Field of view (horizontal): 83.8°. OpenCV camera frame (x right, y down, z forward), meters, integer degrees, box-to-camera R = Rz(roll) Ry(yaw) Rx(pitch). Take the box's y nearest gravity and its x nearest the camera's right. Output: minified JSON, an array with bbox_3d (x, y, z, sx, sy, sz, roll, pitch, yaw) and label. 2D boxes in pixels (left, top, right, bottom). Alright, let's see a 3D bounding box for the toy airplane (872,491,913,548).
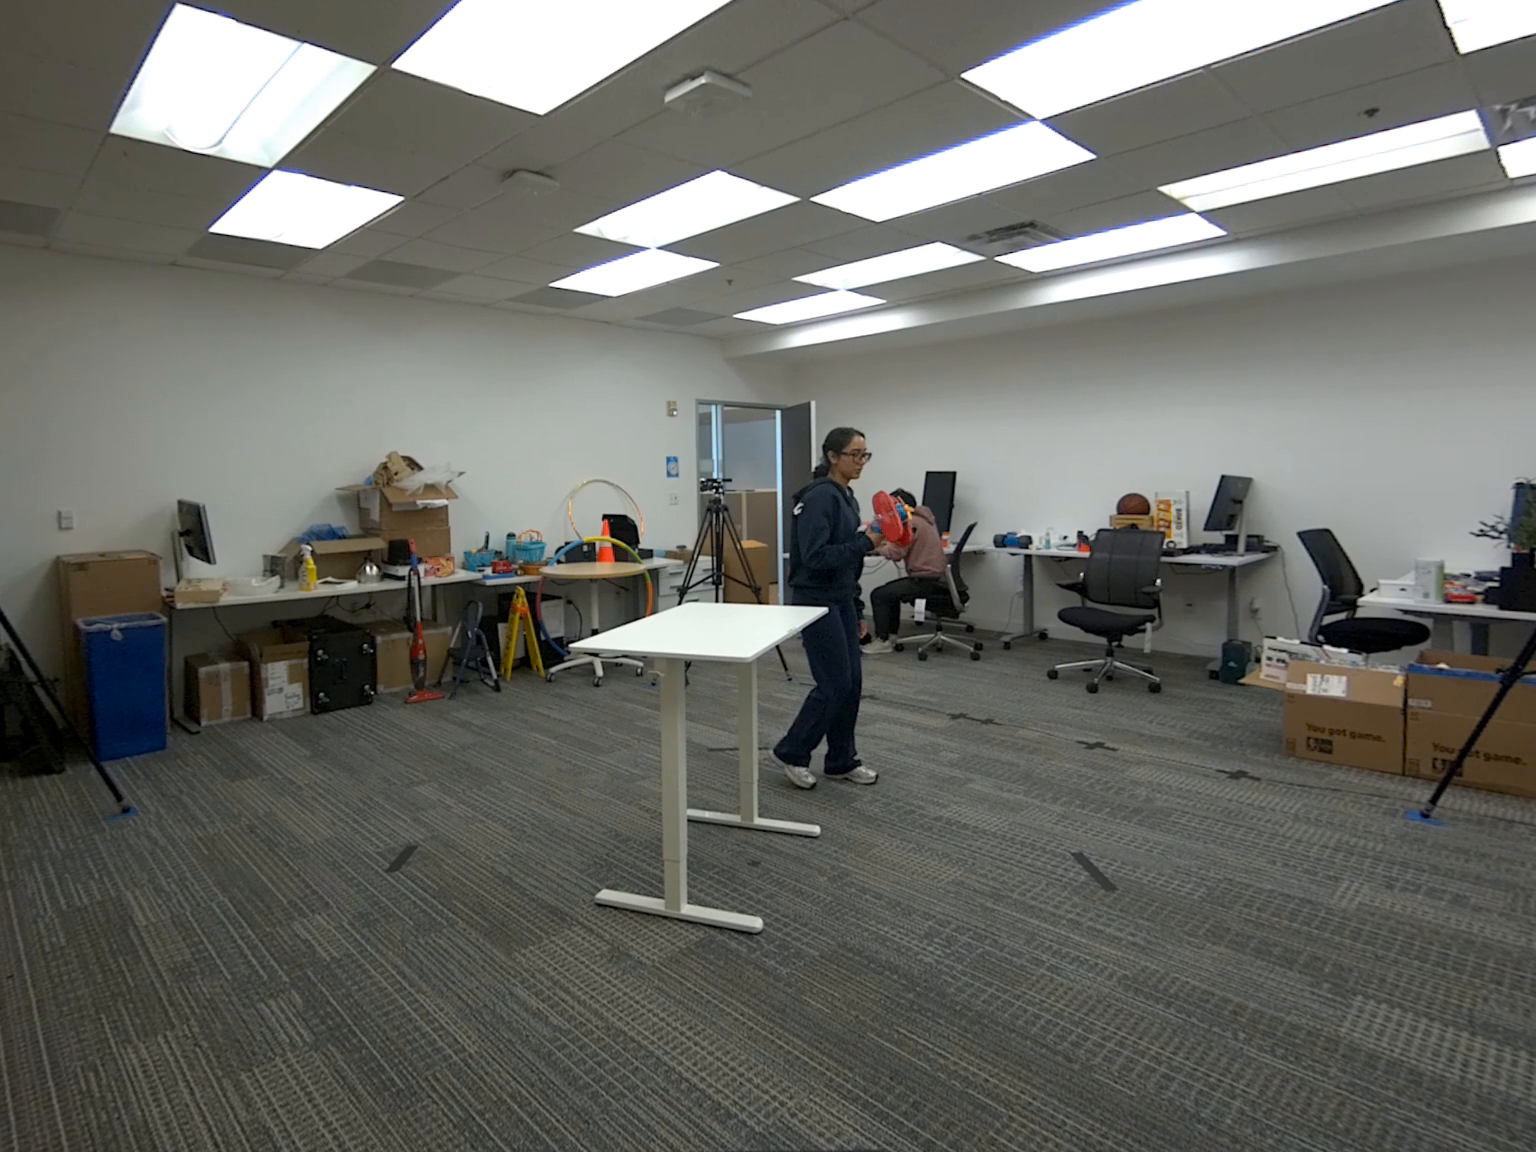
[{"bbox_3d":[0.511,-0.201,3.683,0.261,0.259,0.150,40,-1,37],"label":"toy airplane"}]
